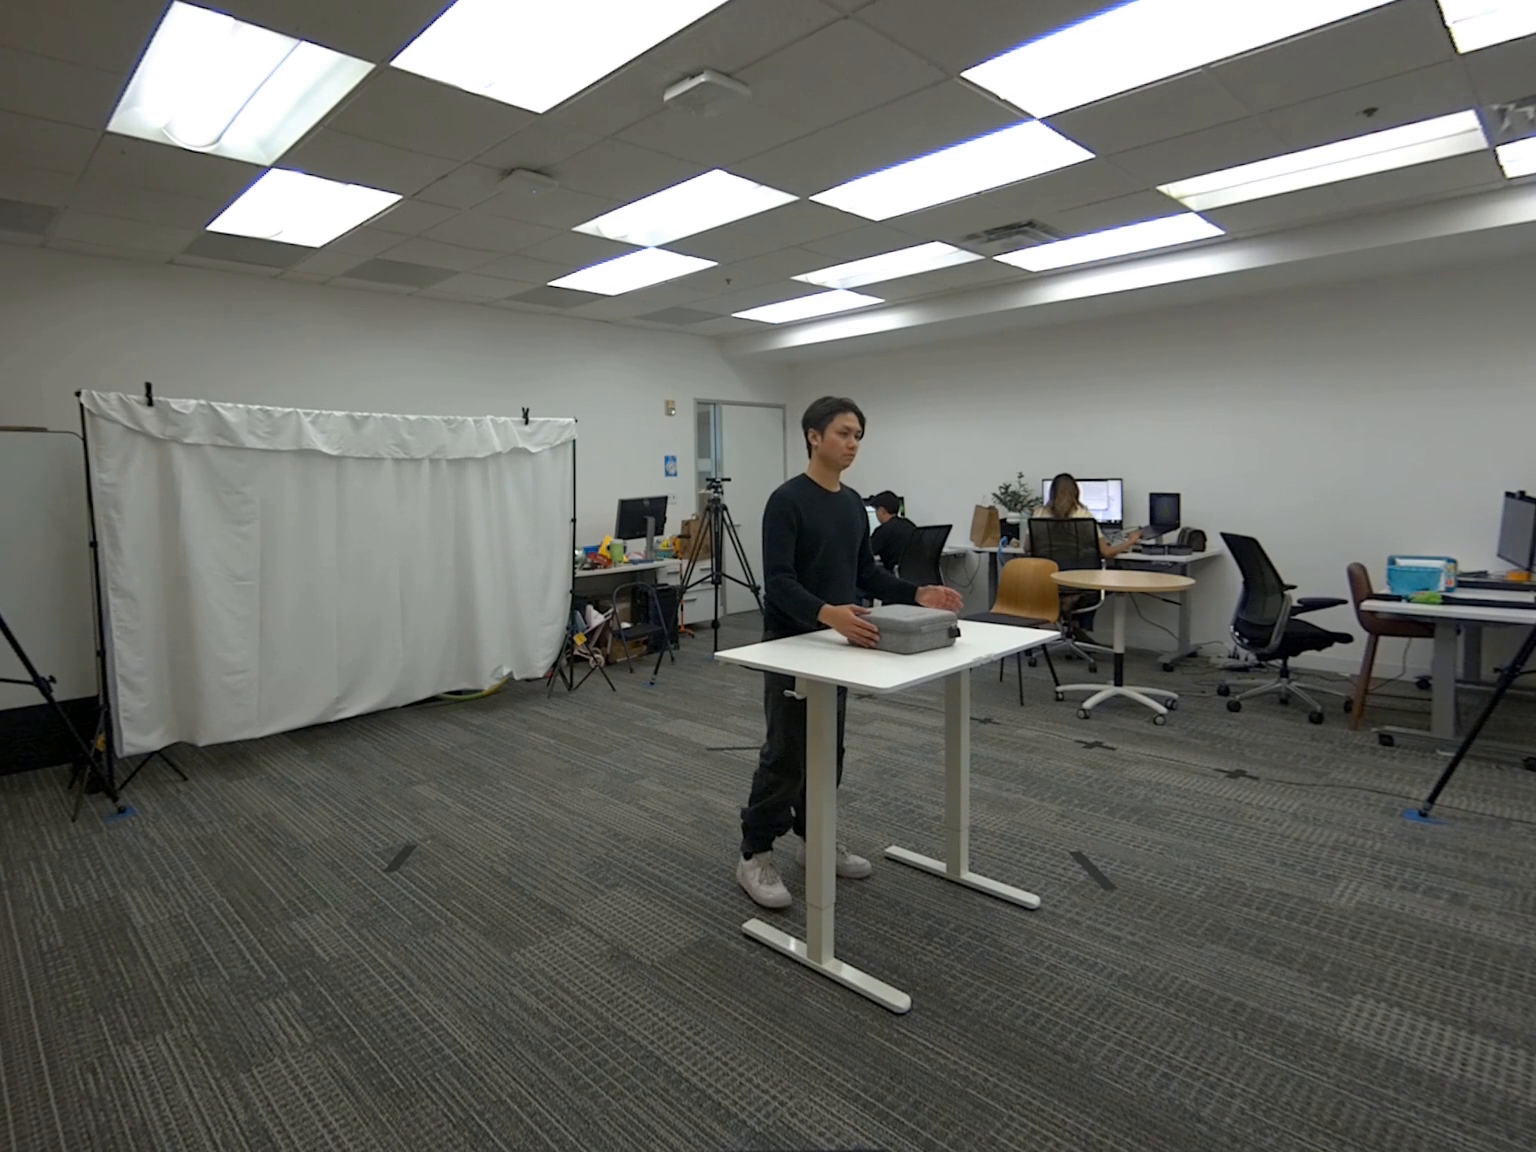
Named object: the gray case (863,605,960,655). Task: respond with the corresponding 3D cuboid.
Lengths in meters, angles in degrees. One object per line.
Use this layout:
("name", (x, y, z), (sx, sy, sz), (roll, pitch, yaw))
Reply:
("gray case", (0.409, 0.161, 2.601), (0.250, 0.104, 0.269), (-8, 9, -42))
